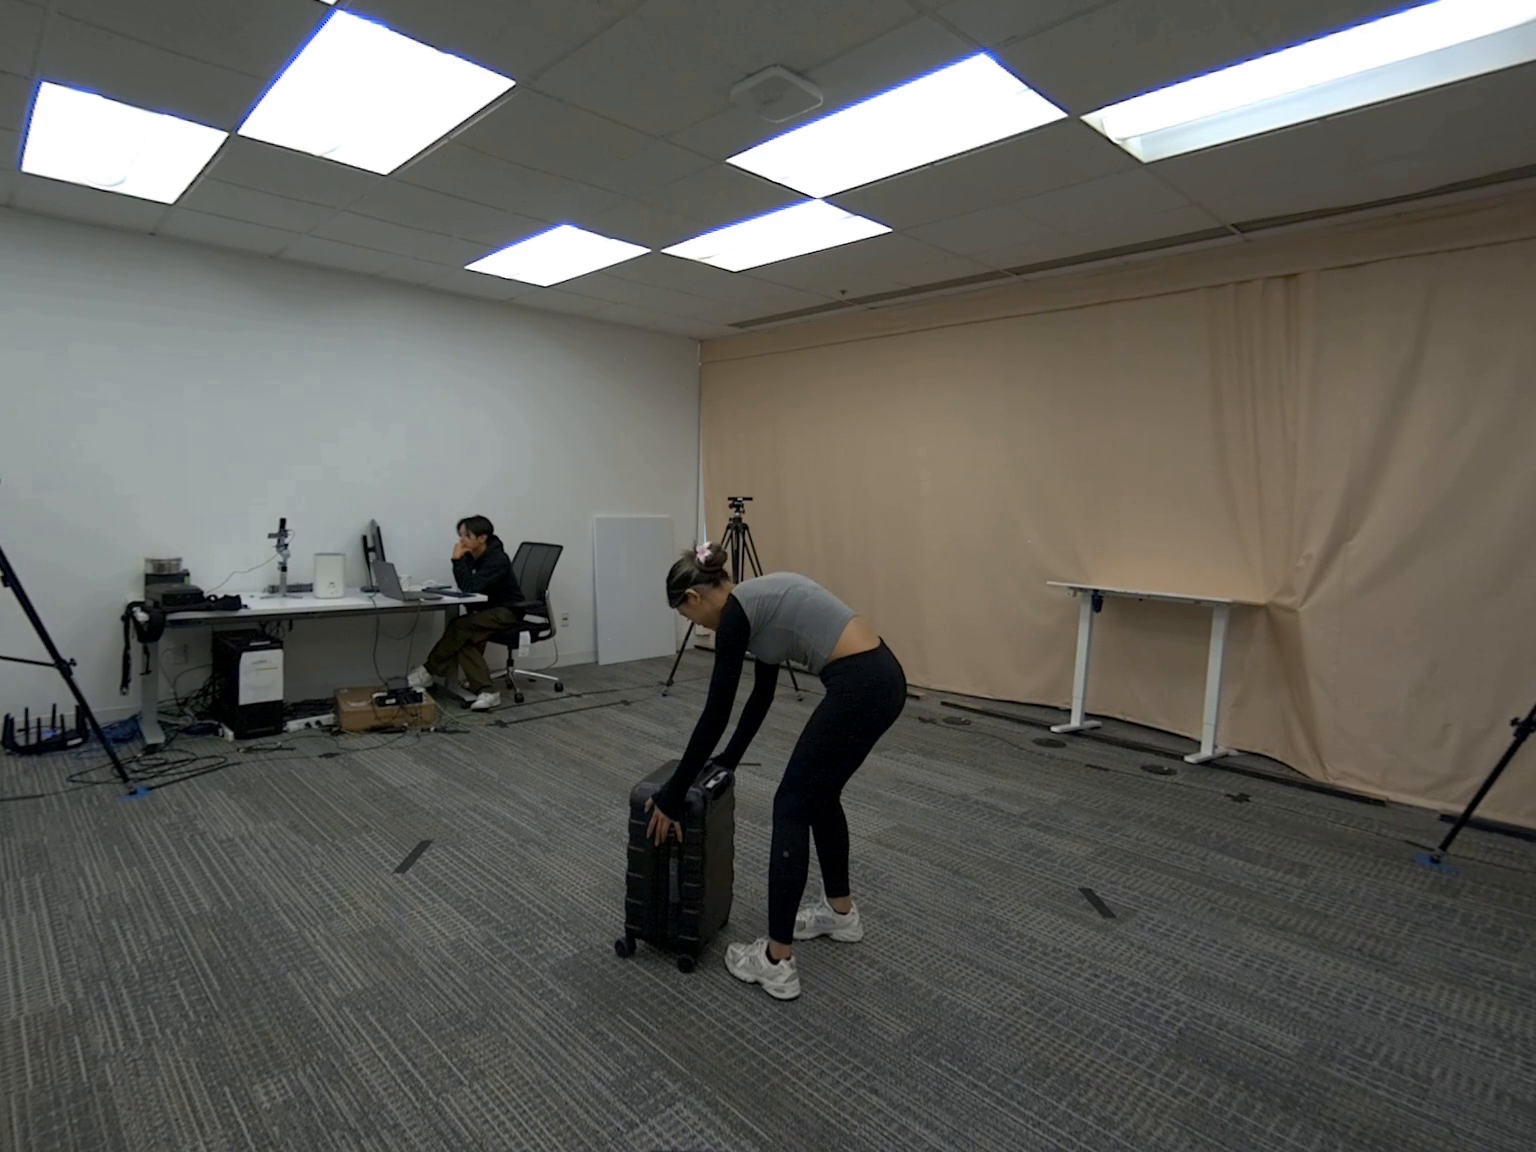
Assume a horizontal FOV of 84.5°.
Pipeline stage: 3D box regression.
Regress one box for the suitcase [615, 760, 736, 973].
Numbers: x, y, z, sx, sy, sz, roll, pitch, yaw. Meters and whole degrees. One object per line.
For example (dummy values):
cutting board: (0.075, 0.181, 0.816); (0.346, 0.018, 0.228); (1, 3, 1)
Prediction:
suitcase: (-0.278, 0.873, 2.629); (0.252, 0.548, 0.371); (2, 4, 18)
